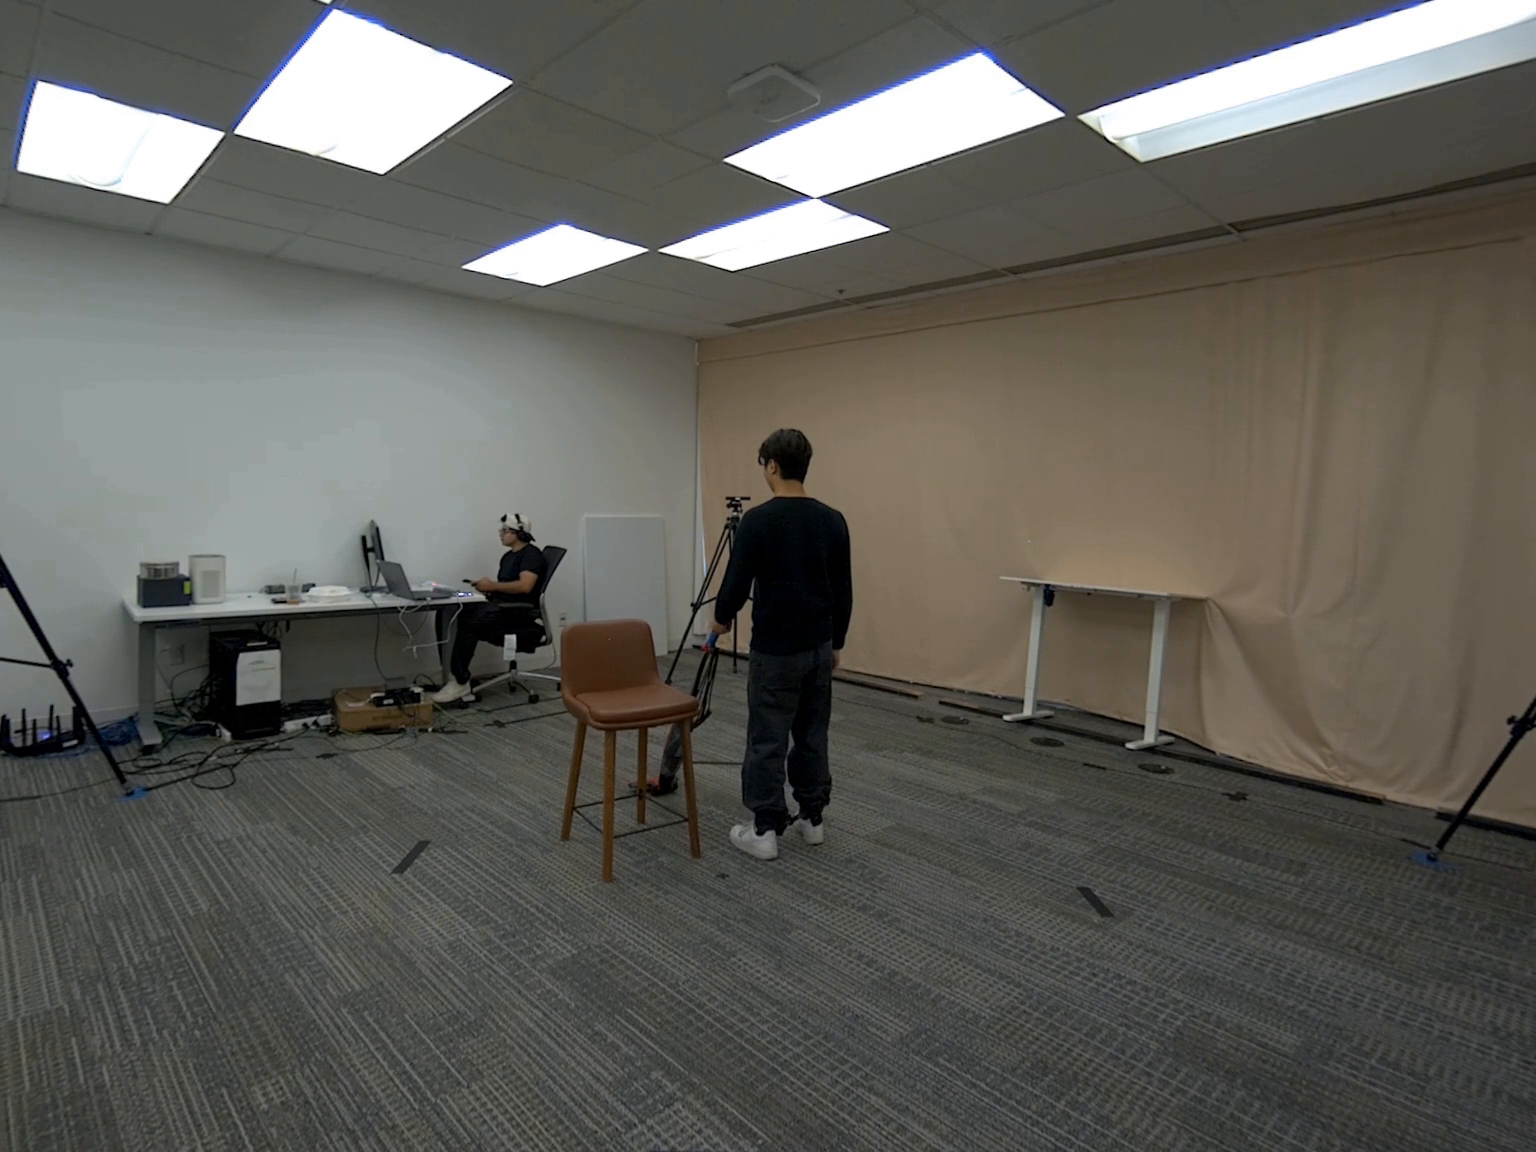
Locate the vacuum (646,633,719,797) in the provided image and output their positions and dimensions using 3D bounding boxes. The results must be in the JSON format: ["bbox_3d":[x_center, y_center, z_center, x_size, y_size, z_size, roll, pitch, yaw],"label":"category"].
[{"bbox_3d":[-0.352,0.597,3.755,0.247,1.039,0.148,0,38,-35],"label":"vacuum"}]
